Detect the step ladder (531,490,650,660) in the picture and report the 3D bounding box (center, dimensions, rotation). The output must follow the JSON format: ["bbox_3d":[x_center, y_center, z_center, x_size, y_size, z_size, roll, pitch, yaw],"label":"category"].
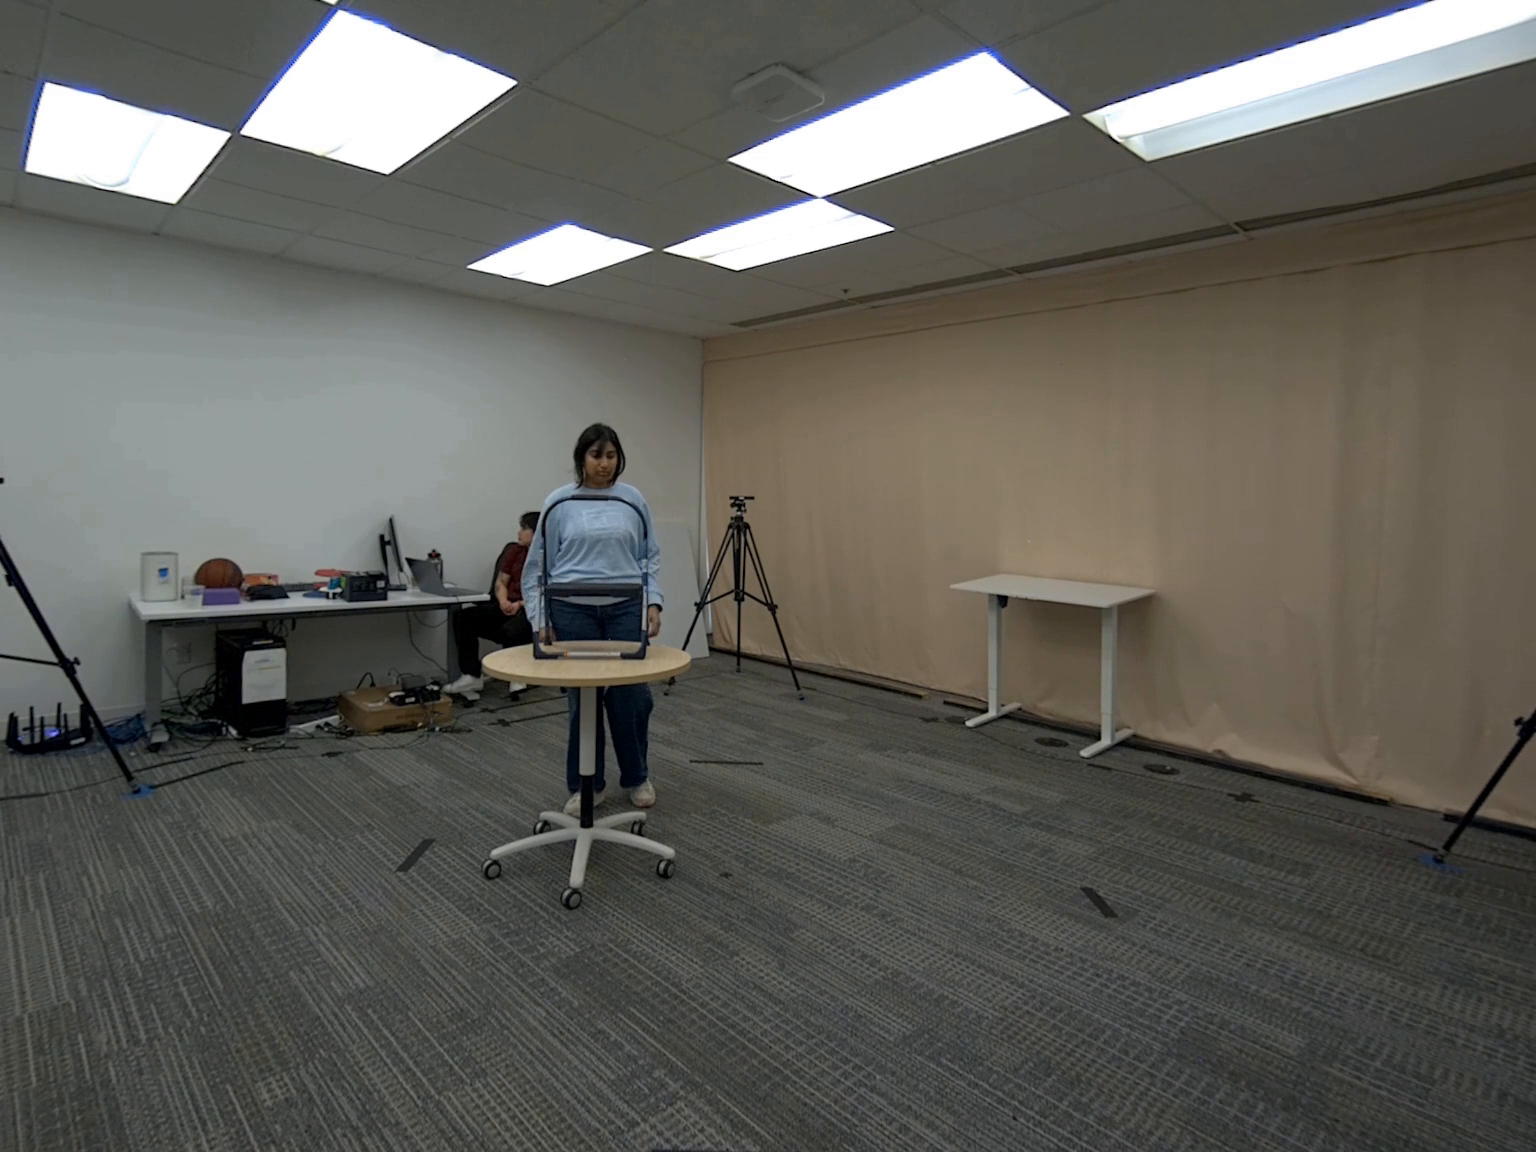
[{"bbox_3d":[-0.685,-0.014,3.257,0.429,0.605,0.351,1,3,-6],"label":"step ladder"}]
